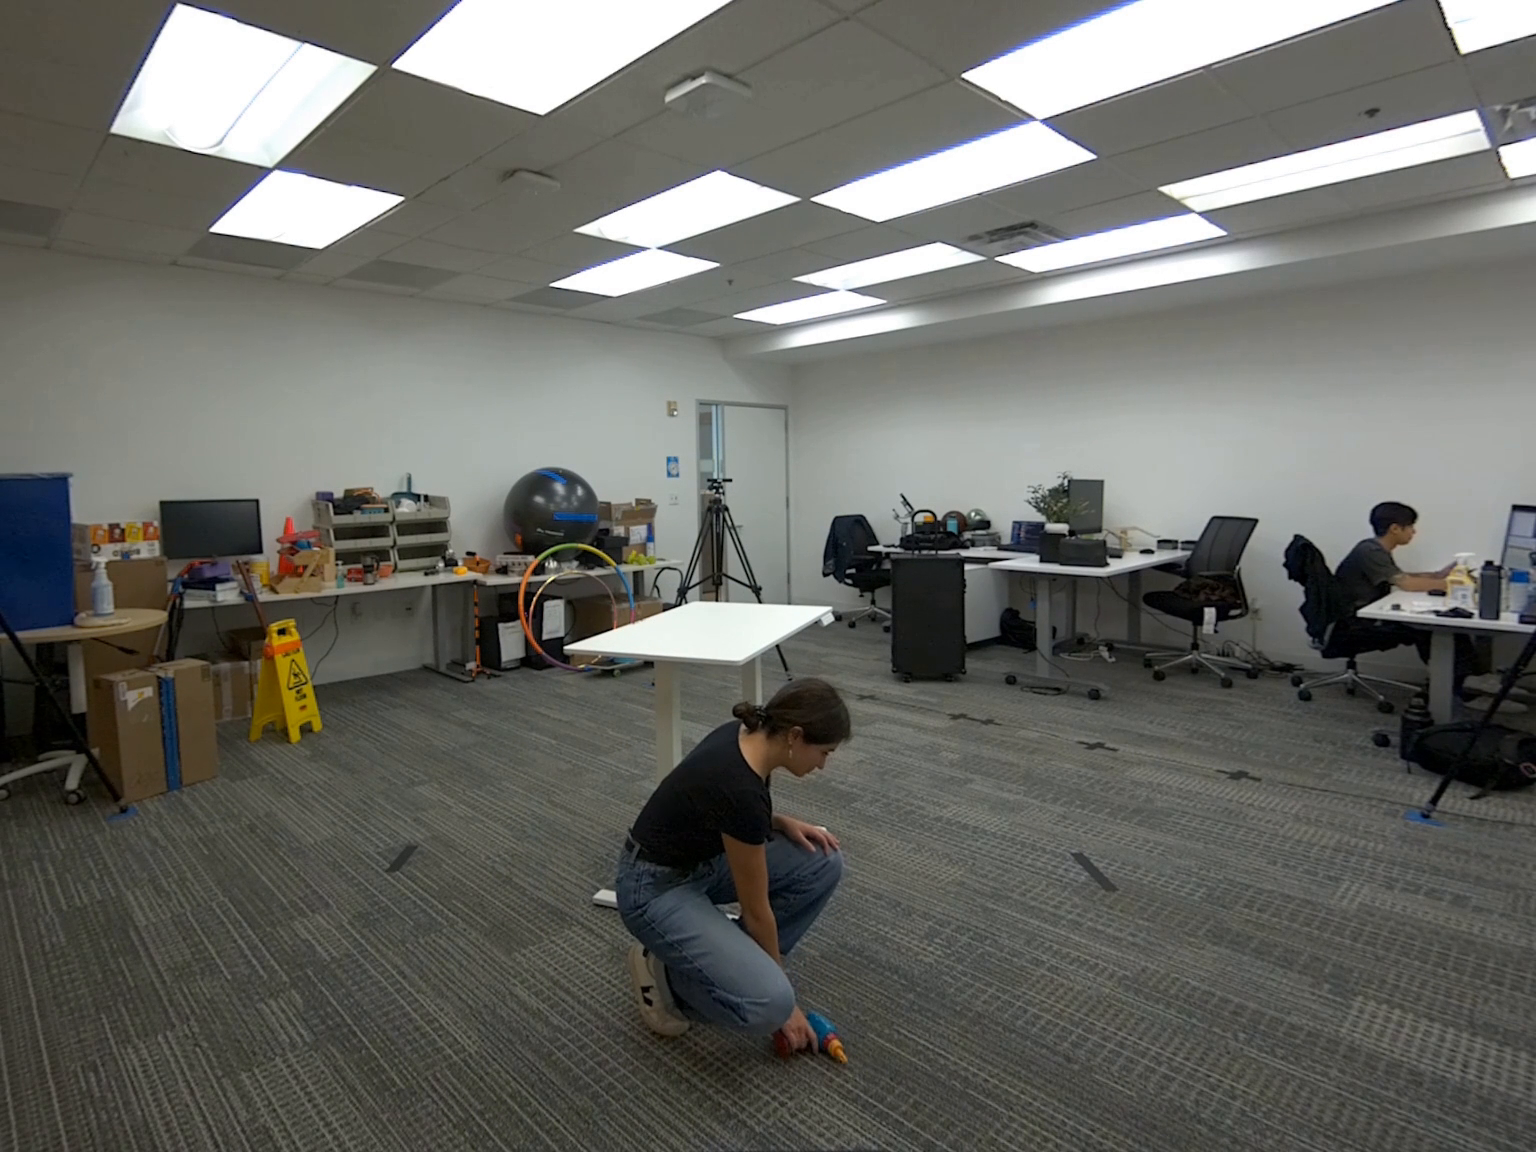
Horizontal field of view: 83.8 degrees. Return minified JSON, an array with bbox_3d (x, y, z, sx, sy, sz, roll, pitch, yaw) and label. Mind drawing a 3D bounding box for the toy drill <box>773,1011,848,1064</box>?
[{"bbox_3d":[0.115,1.138,2.073,0.143,0.060,0.175,-4,13,-27],"label":"toy drill"}]
